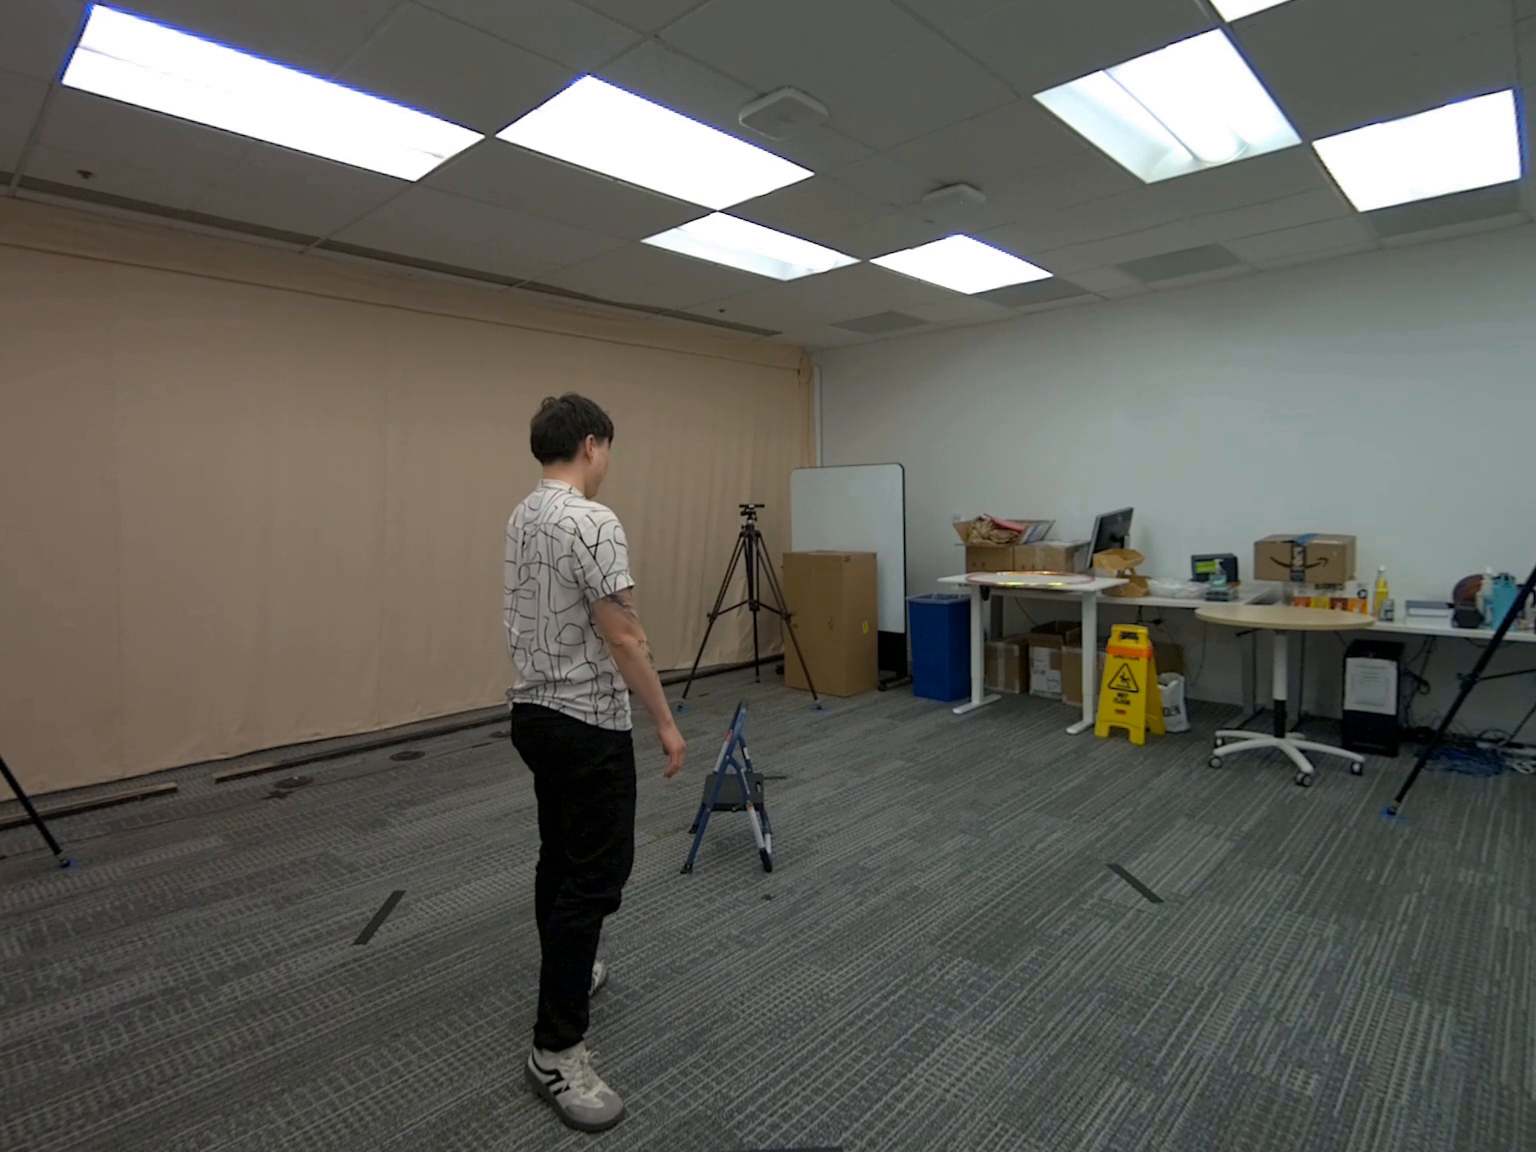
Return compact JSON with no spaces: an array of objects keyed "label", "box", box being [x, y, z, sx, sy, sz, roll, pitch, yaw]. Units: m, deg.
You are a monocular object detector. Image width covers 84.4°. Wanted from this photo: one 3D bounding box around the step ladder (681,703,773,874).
[{"label":"step ladder","box":[-0.163,0.806,3.379,0.350,0.605,0.431,-1,3,0]}]
